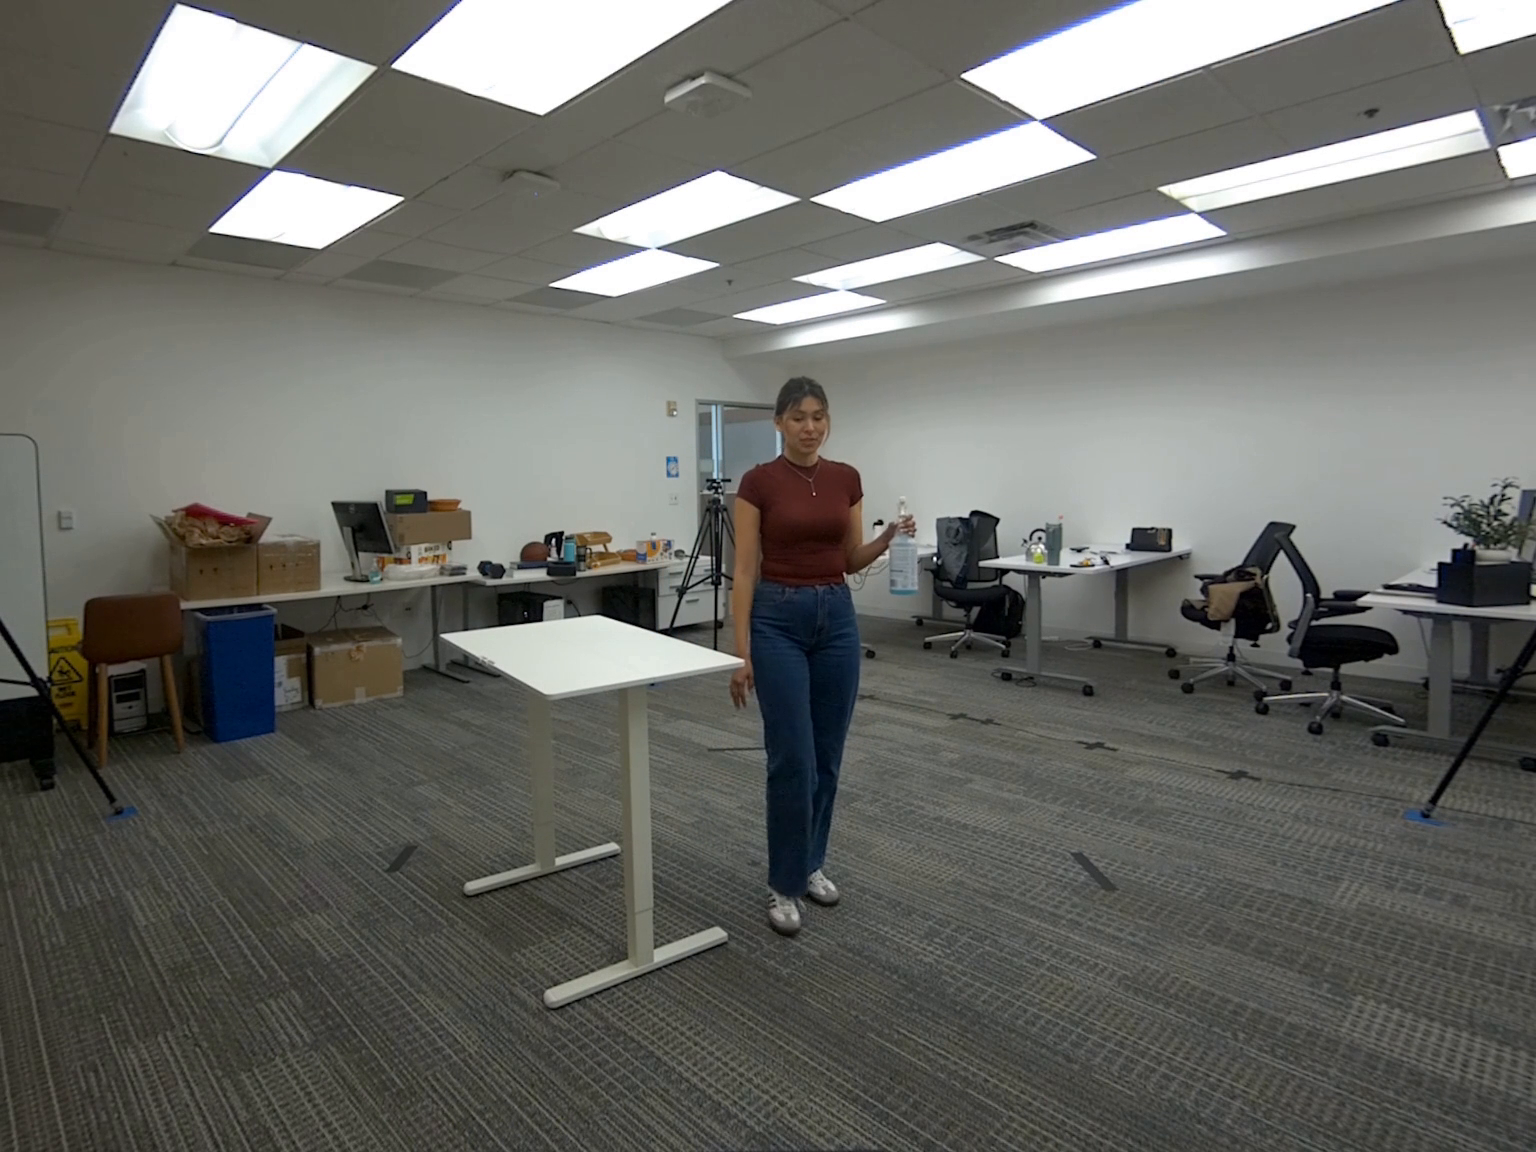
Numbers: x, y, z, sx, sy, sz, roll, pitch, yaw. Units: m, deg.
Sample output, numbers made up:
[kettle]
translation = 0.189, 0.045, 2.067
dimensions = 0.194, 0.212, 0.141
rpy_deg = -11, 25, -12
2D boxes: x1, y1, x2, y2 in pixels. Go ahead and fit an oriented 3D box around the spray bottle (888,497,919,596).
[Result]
[spray bottle]
translation = 0.421, -0.090, 2.610
dimensions = 0.089, 0.296, 0.088
rpy_deg = 0, 4, 34
